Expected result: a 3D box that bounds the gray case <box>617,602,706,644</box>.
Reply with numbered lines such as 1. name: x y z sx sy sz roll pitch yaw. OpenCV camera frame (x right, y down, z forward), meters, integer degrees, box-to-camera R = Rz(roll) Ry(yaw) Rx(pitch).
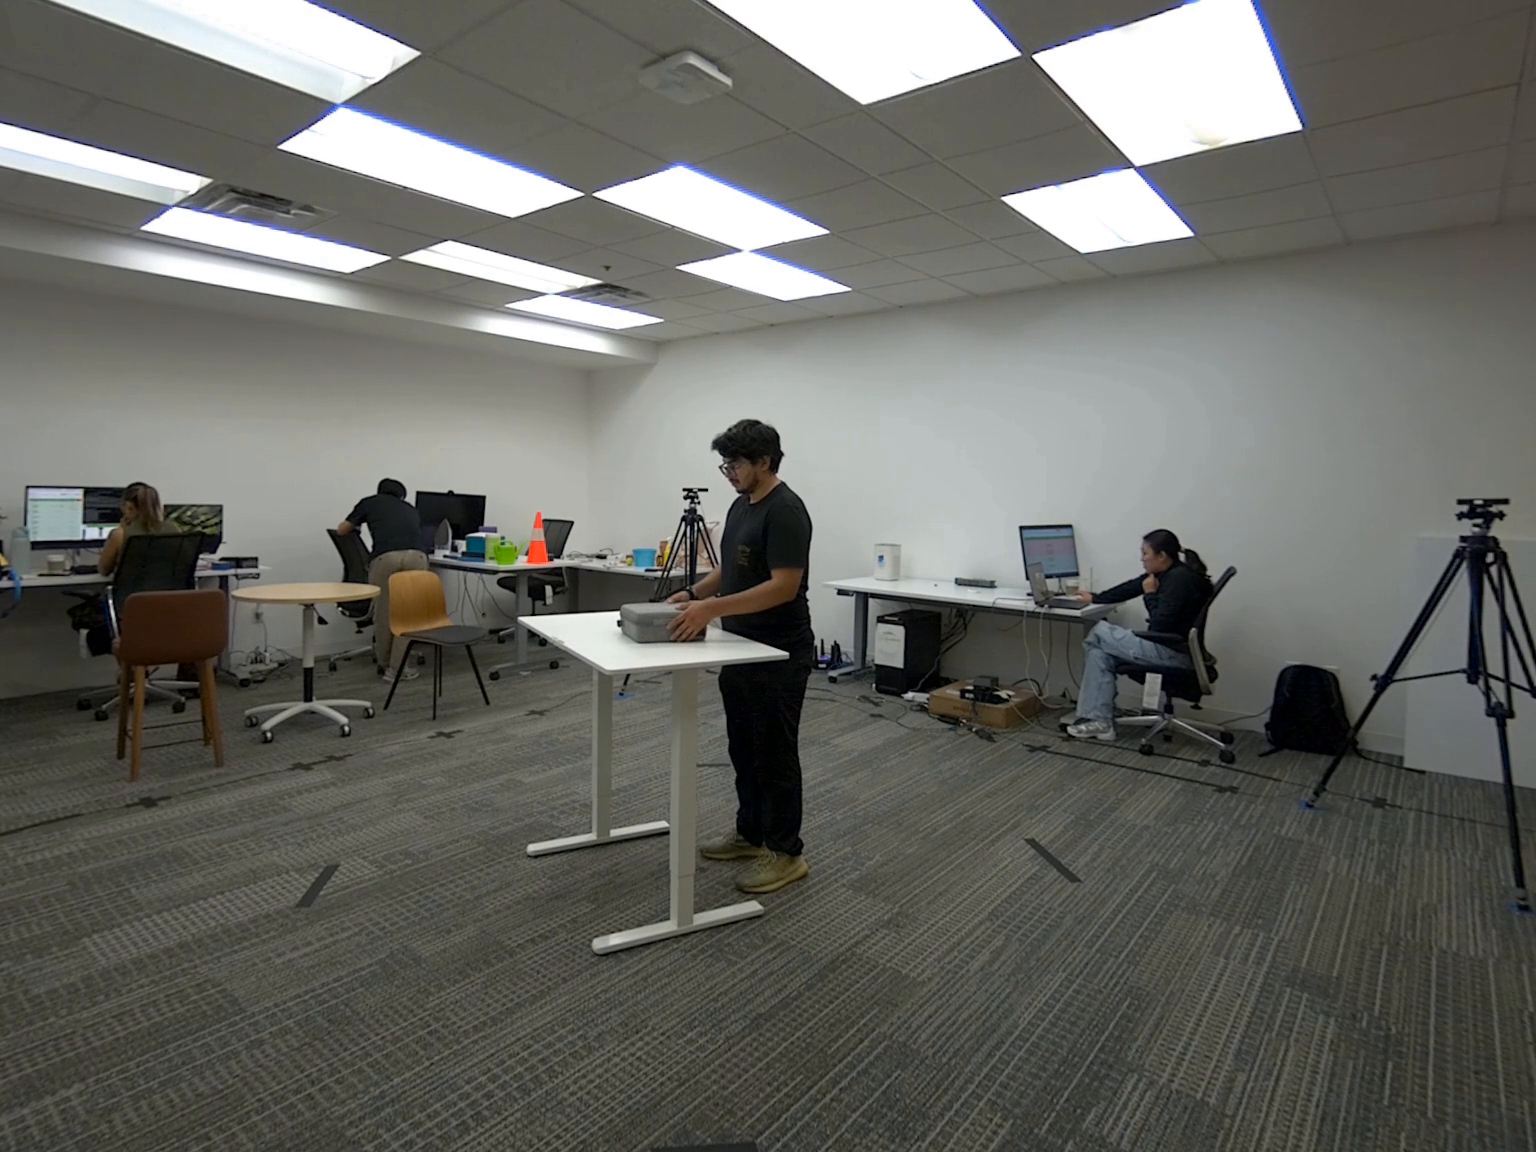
1. gray case: -0.371 0.158 2.901 0.251 0.104 0.267 1 5 -21
